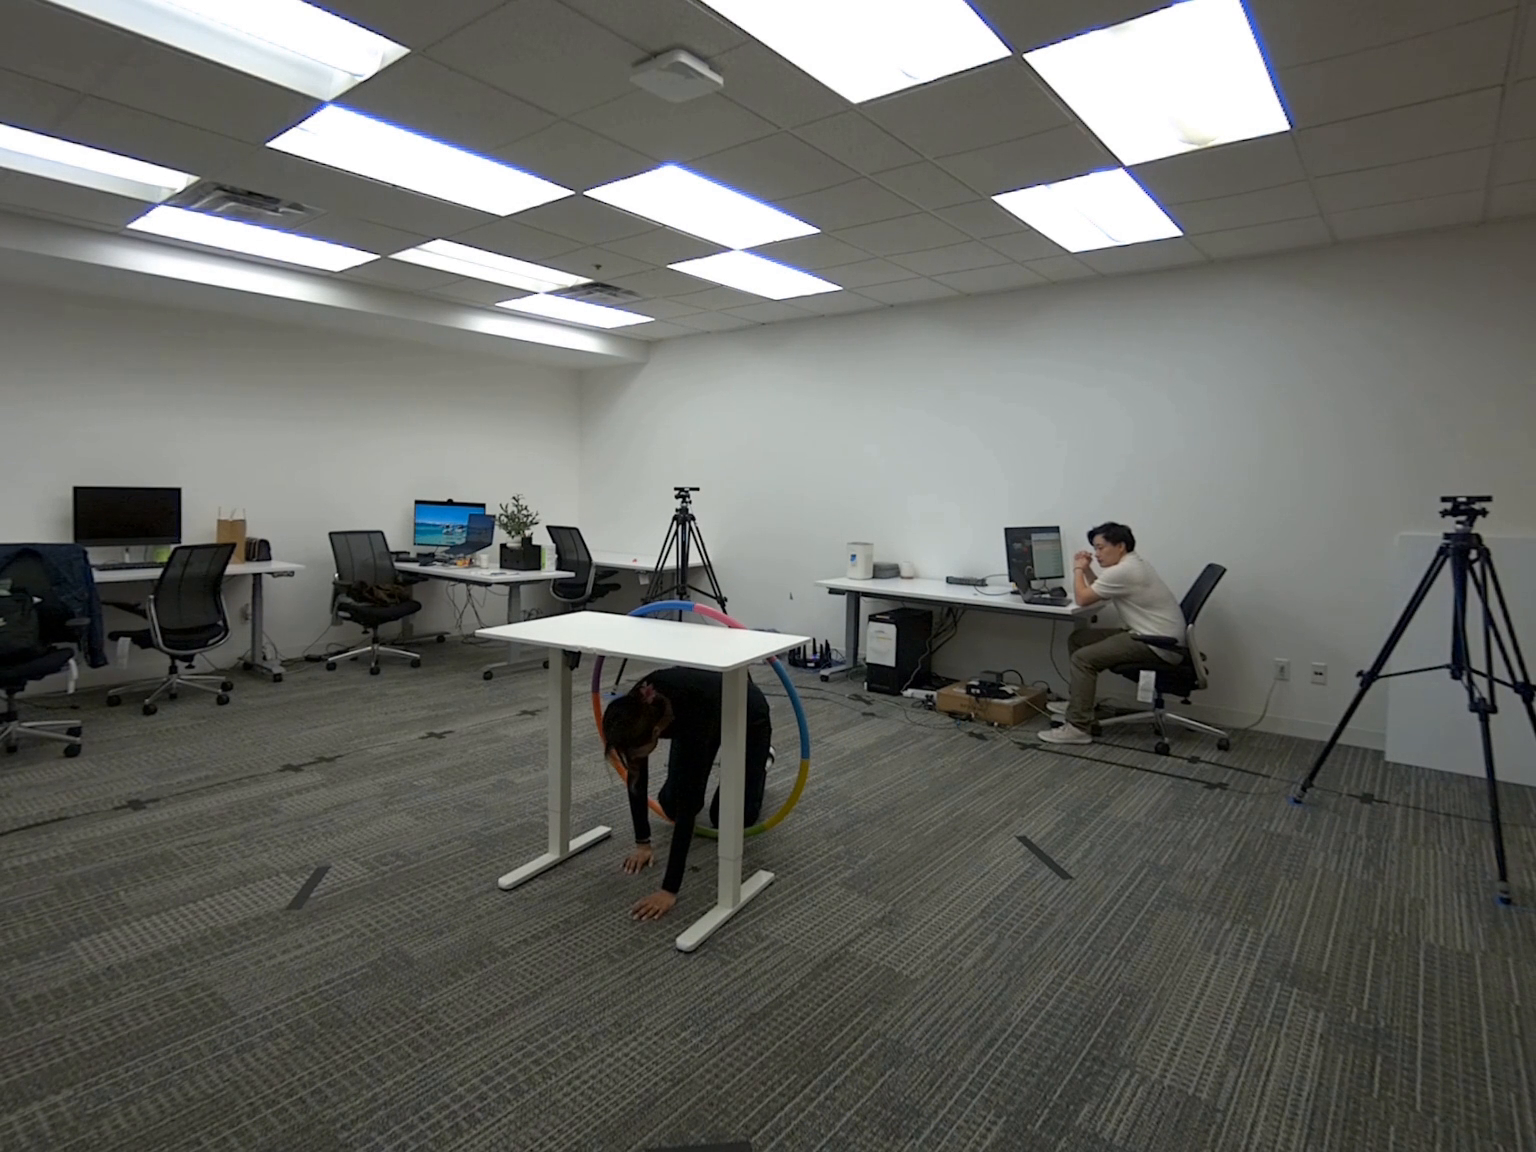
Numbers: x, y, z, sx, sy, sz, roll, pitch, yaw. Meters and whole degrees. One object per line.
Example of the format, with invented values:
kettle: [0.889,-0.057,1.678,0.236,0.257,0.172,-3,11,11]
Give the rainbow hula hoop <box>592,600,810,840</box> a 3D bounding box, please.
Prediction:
rainbow hula hoop: [-0.298,0.562,3.304,1.007,0.965,0.035,3,15,30]
